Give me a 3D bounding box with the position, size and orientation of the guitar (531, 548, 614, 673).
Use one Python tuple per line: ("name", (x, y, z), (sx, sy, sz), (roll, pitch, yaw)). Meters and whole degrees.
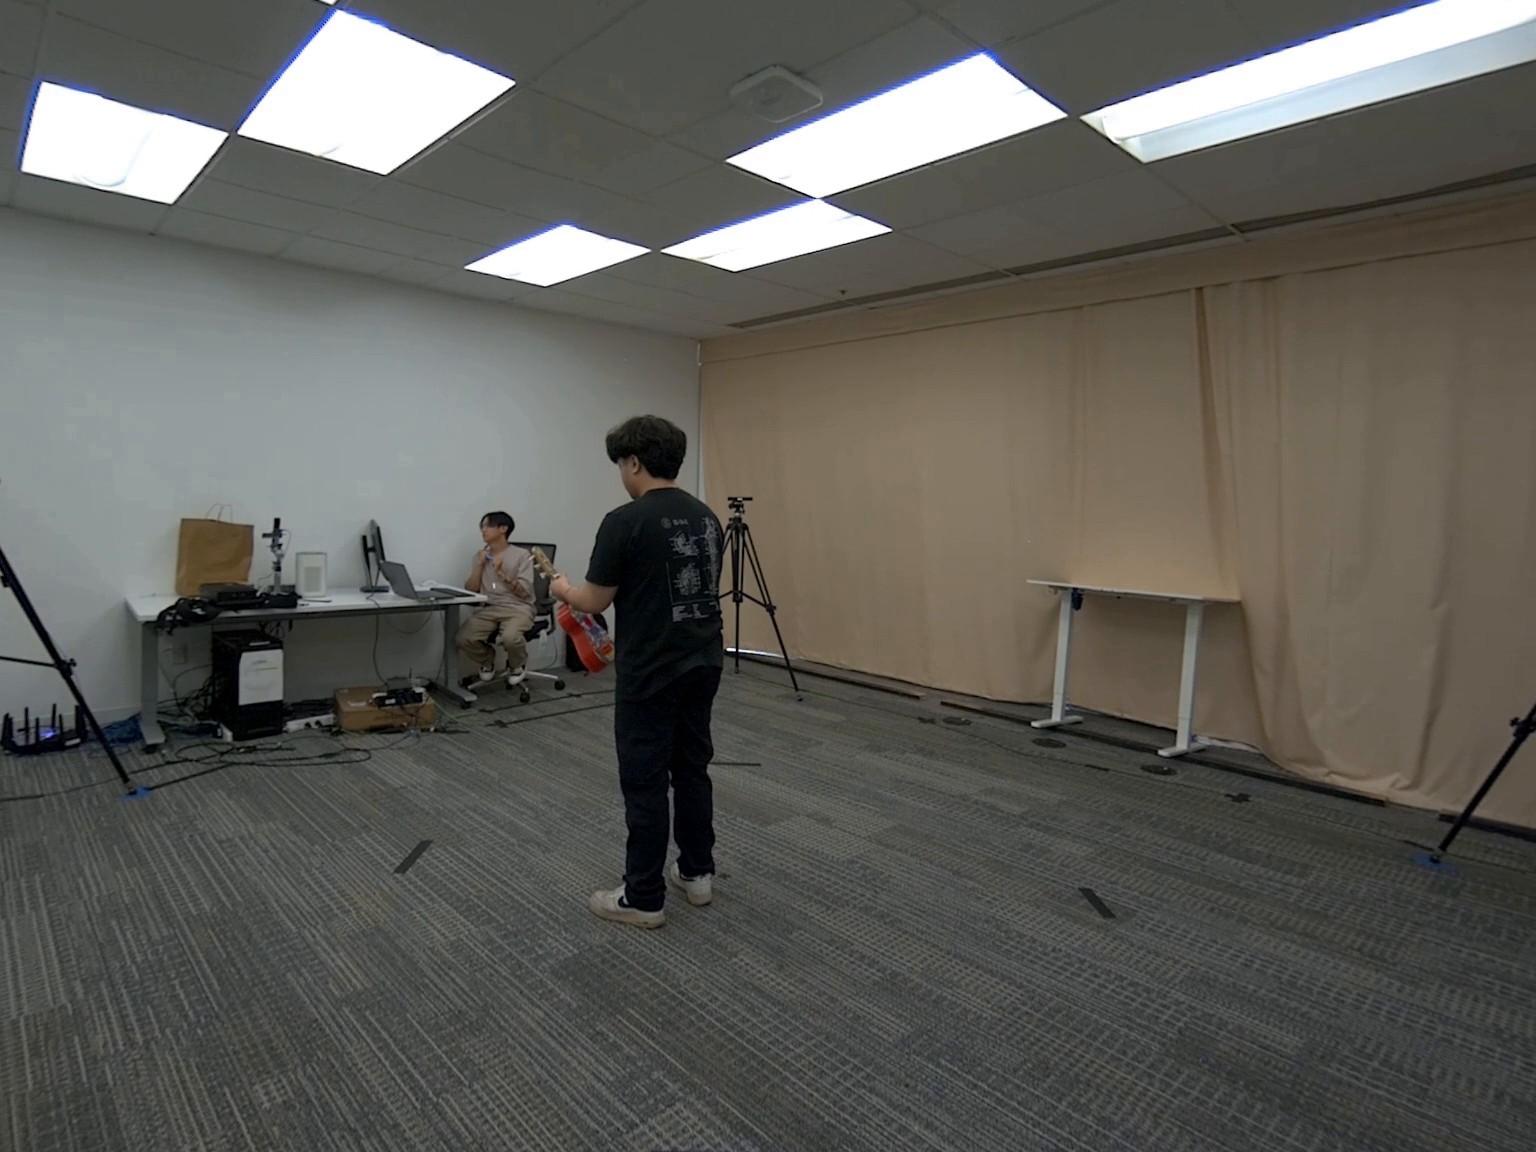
("guitar", (-0.706, 0.116, 3.031), (0.071, 0.502, 0.190), (-36, -9, 14))
